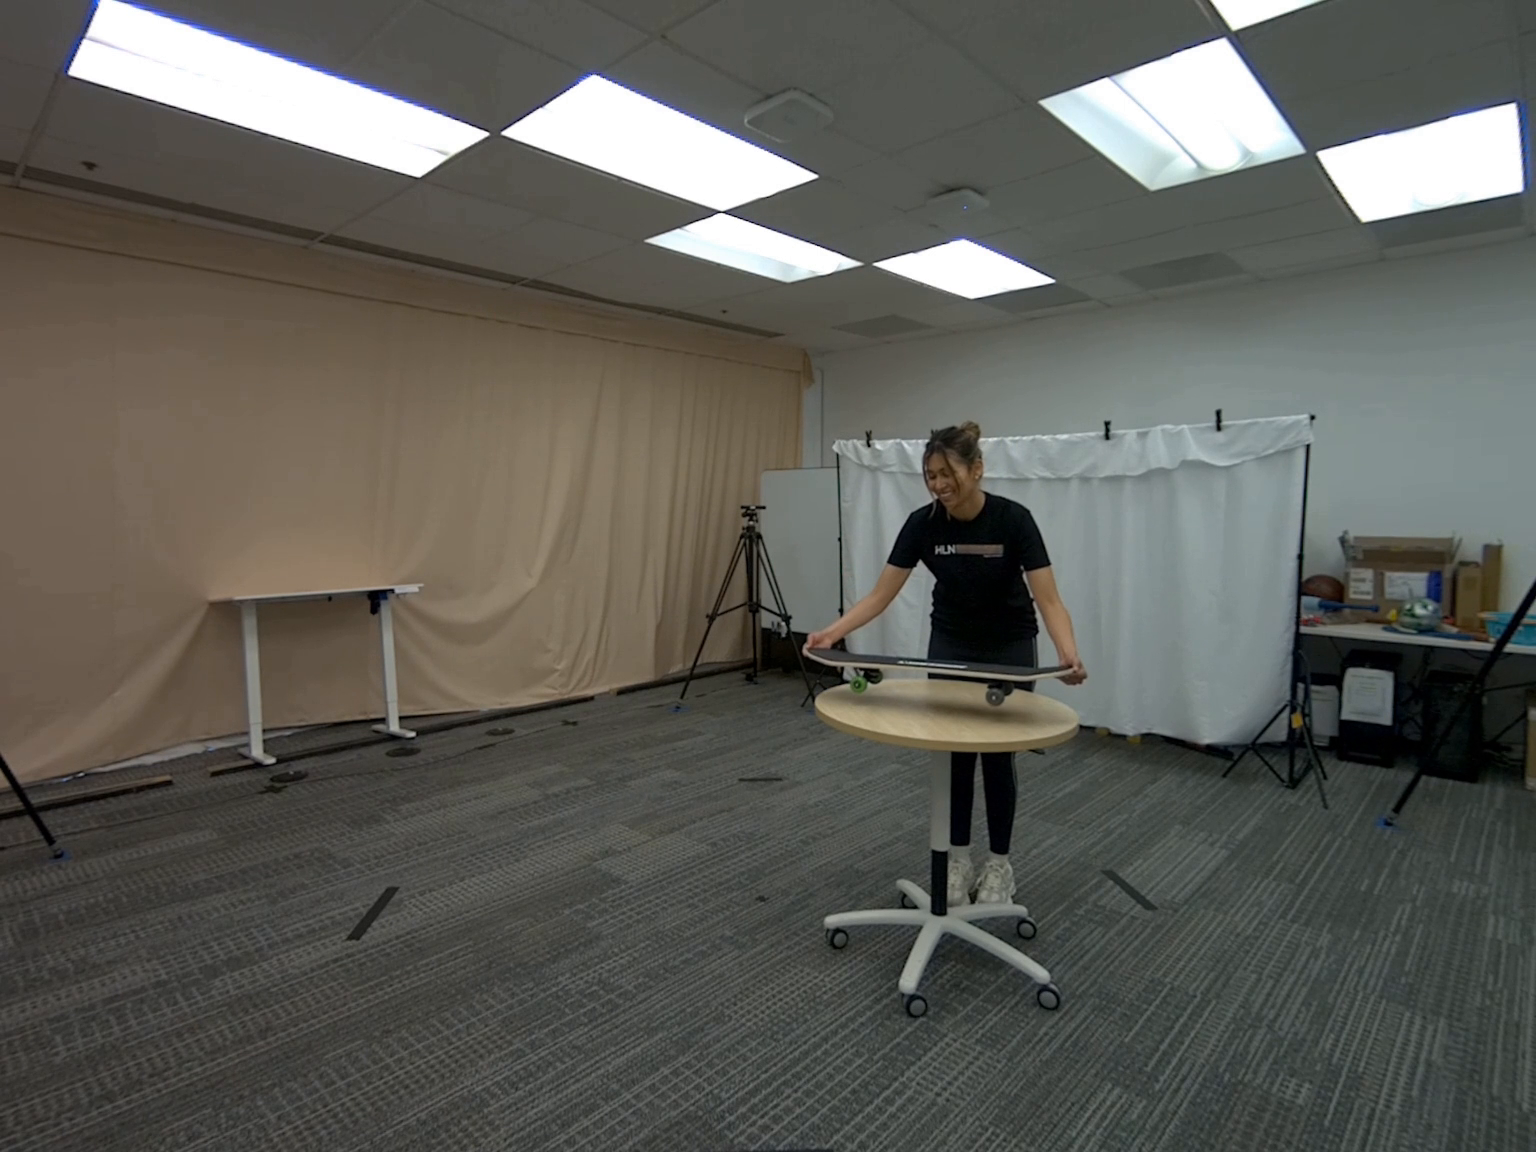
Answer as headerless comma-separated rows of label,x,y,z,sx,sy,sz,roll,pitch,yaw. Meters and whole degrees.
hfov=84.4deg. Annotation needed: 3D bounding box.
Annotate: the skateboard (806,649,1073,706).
skateboard,0.502,0.299,2.512,0.808,0.110,0.188,1,3,30
